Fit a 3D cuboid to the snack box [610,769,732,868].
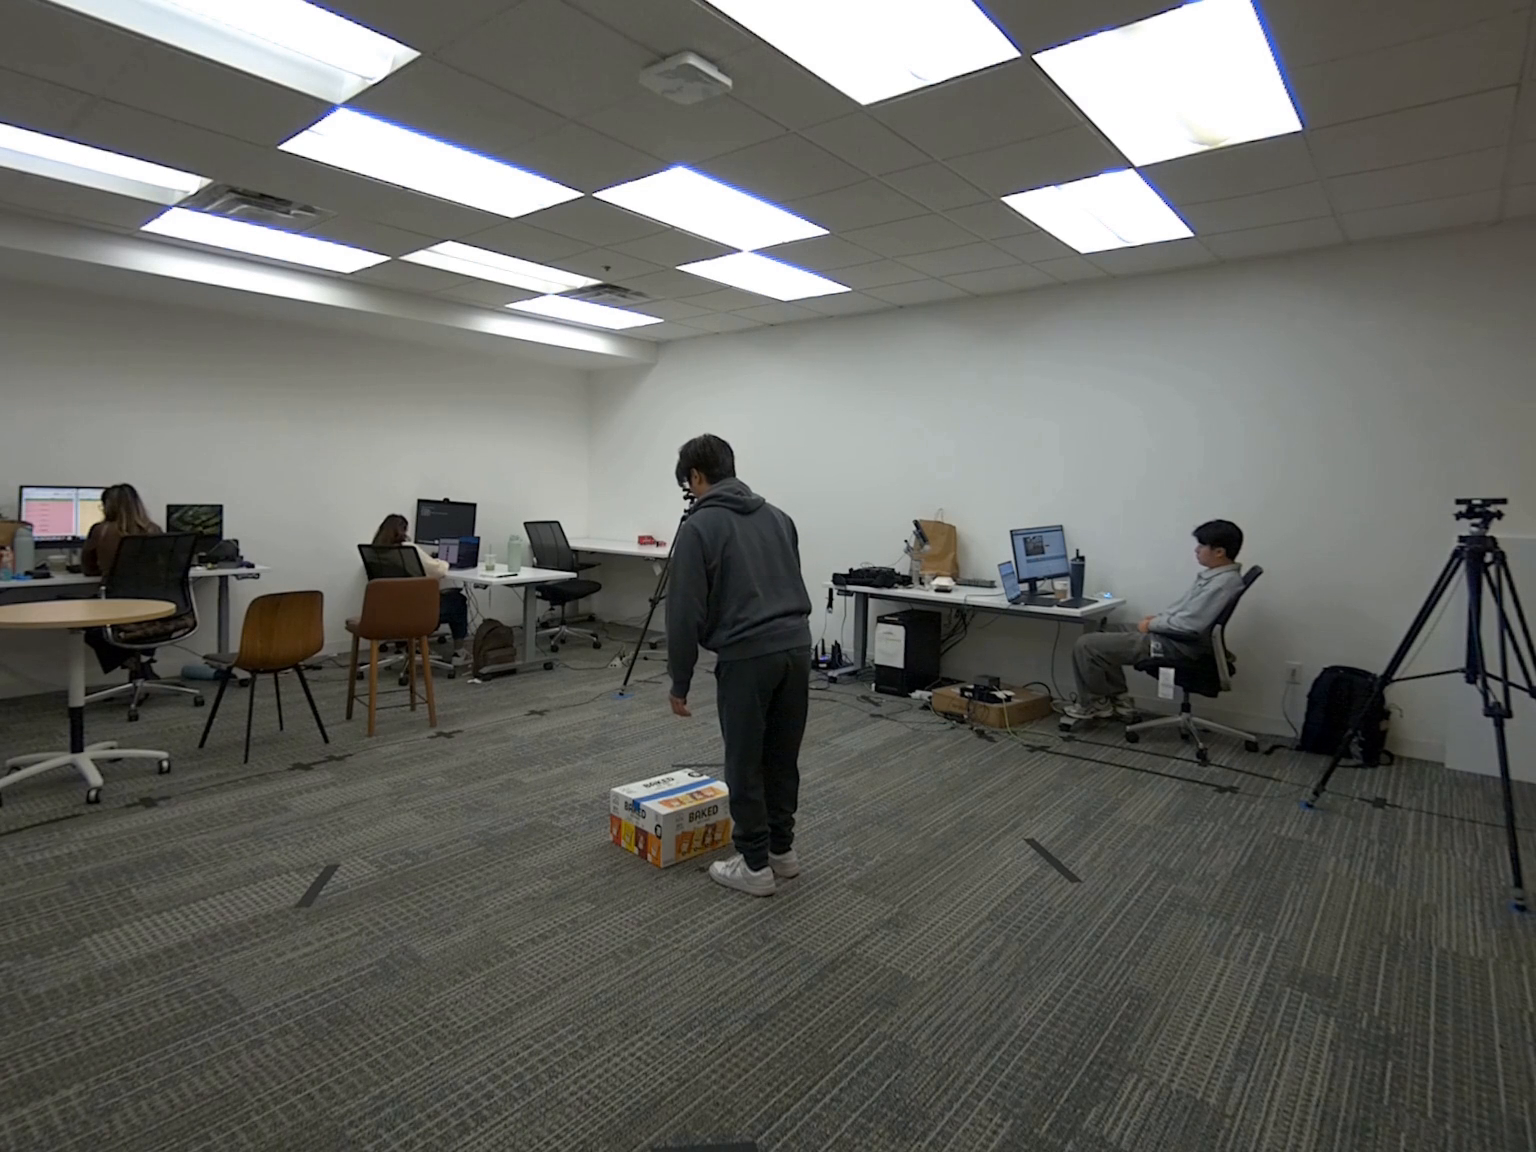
[{"bbox_3d":[-0.374,0.943,3.359,0.393,0.205,0.352,-4,7,-43],"label":"snack box"}]
